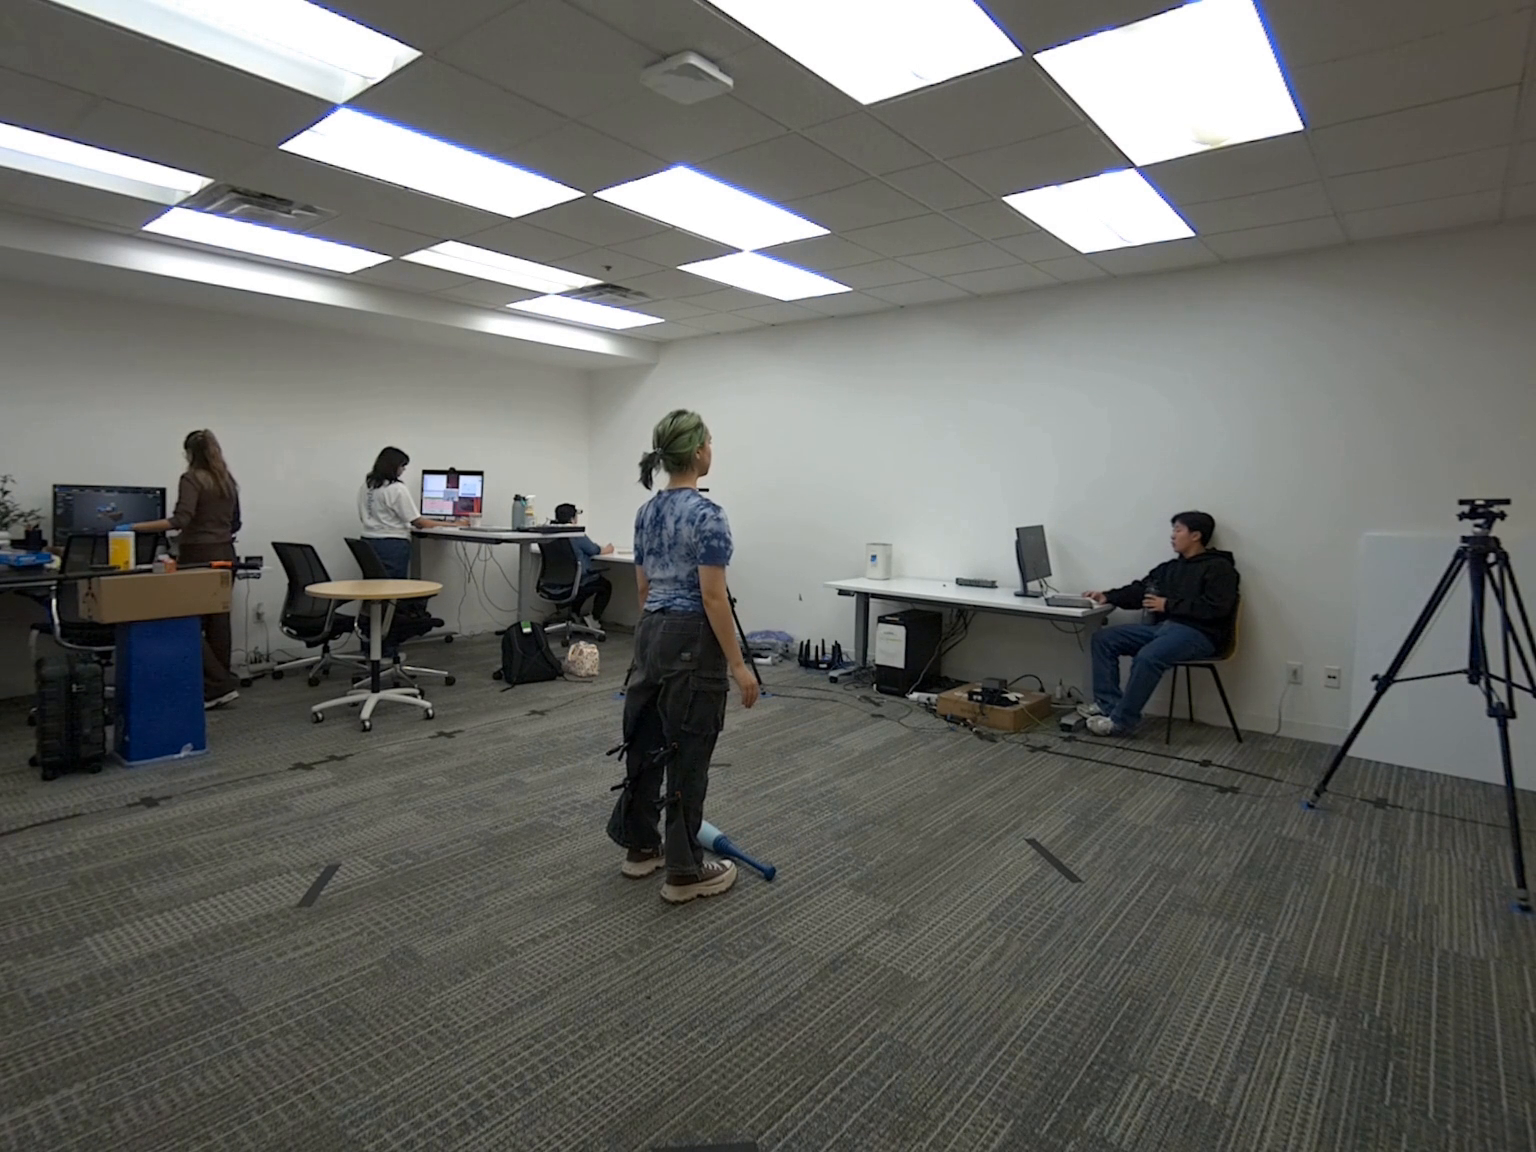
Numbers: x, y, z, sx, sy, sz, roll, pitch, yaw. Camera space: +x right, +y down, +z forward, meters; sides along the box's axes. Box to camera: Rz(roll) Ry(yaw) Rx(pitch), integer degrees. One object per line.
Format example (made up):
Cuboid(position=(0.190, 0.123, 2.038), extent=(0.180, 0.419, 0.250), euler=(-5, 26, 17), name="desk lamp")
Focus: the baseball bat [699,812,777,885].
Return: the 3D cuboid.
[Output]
Cuboid(position=(-0.183, 1.016, 3.226), extent=(0.086, 0.088, 0.562), euler=(-2, 8, -39), name="baseball bat")
